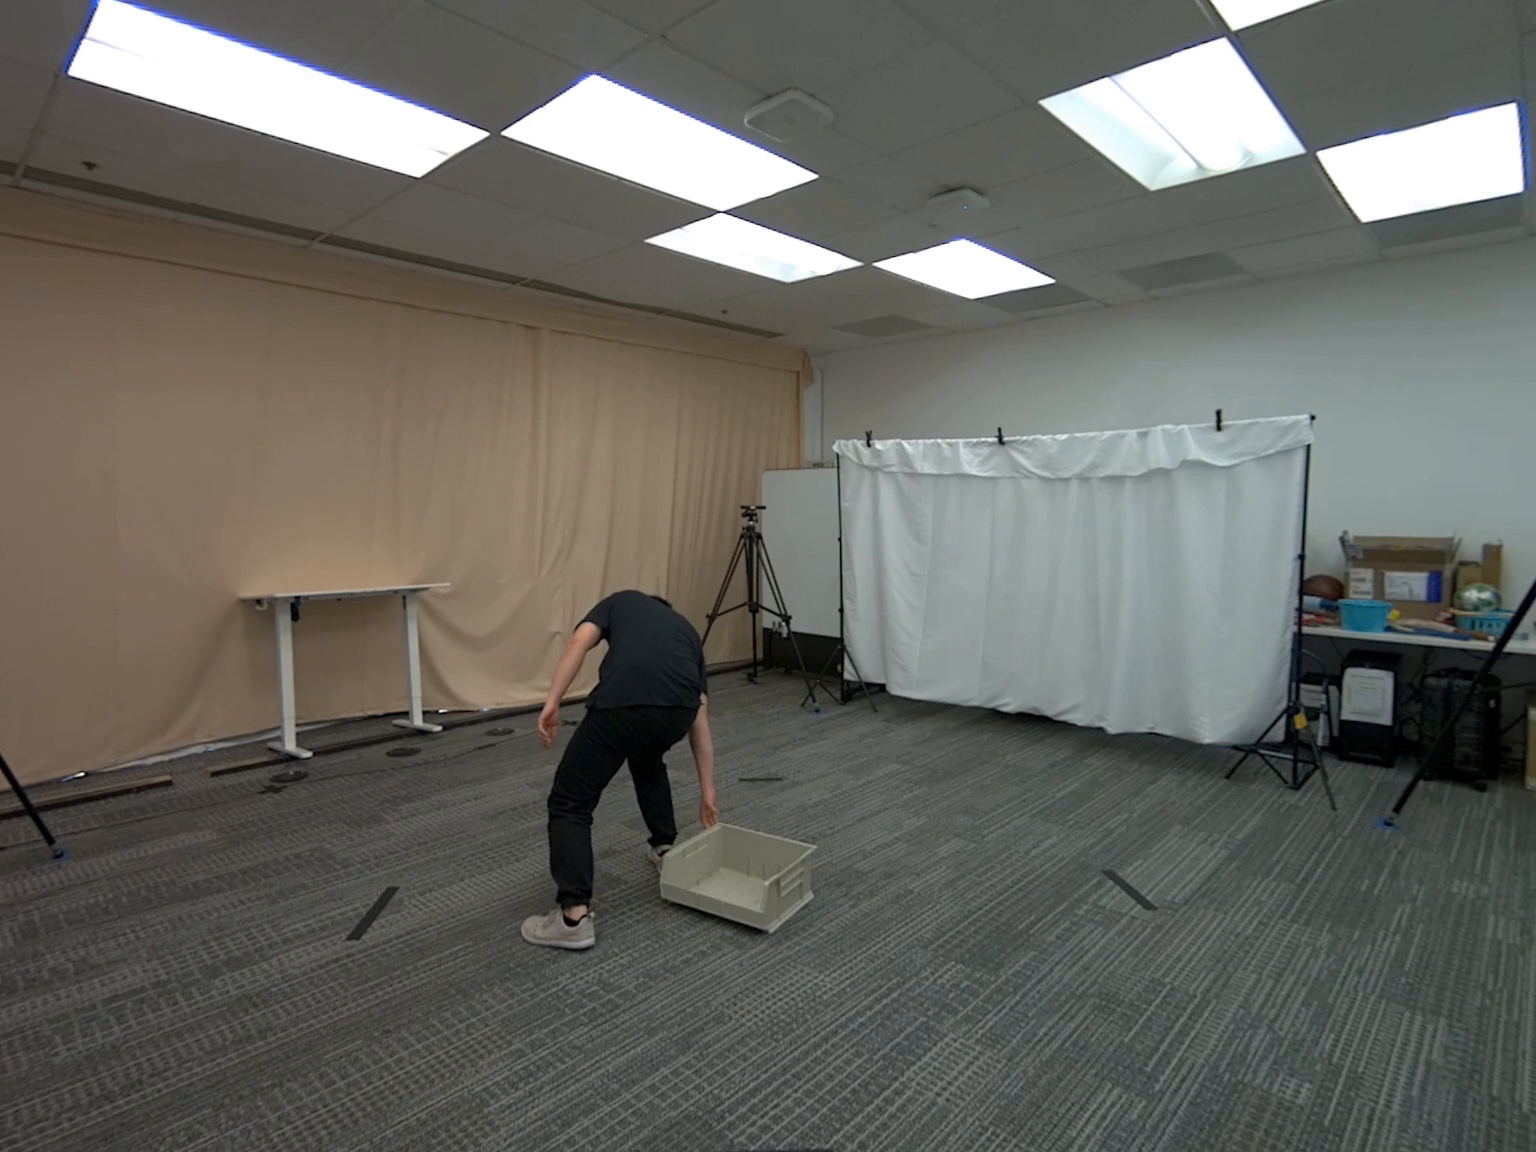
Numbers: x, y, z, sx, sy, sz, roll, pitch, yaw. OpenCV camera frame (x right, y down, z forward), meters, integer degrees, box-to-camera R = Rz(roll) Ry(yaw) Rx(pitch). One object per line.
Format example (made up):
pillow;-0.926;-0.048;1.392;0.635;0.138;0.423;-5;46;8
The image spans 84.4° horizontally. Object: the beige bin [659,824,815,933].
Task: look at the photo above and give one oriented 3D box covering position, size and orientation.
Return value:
beige bin;-0.095;1.052;2.955;0.435;0.188;0.367;3;5;32
